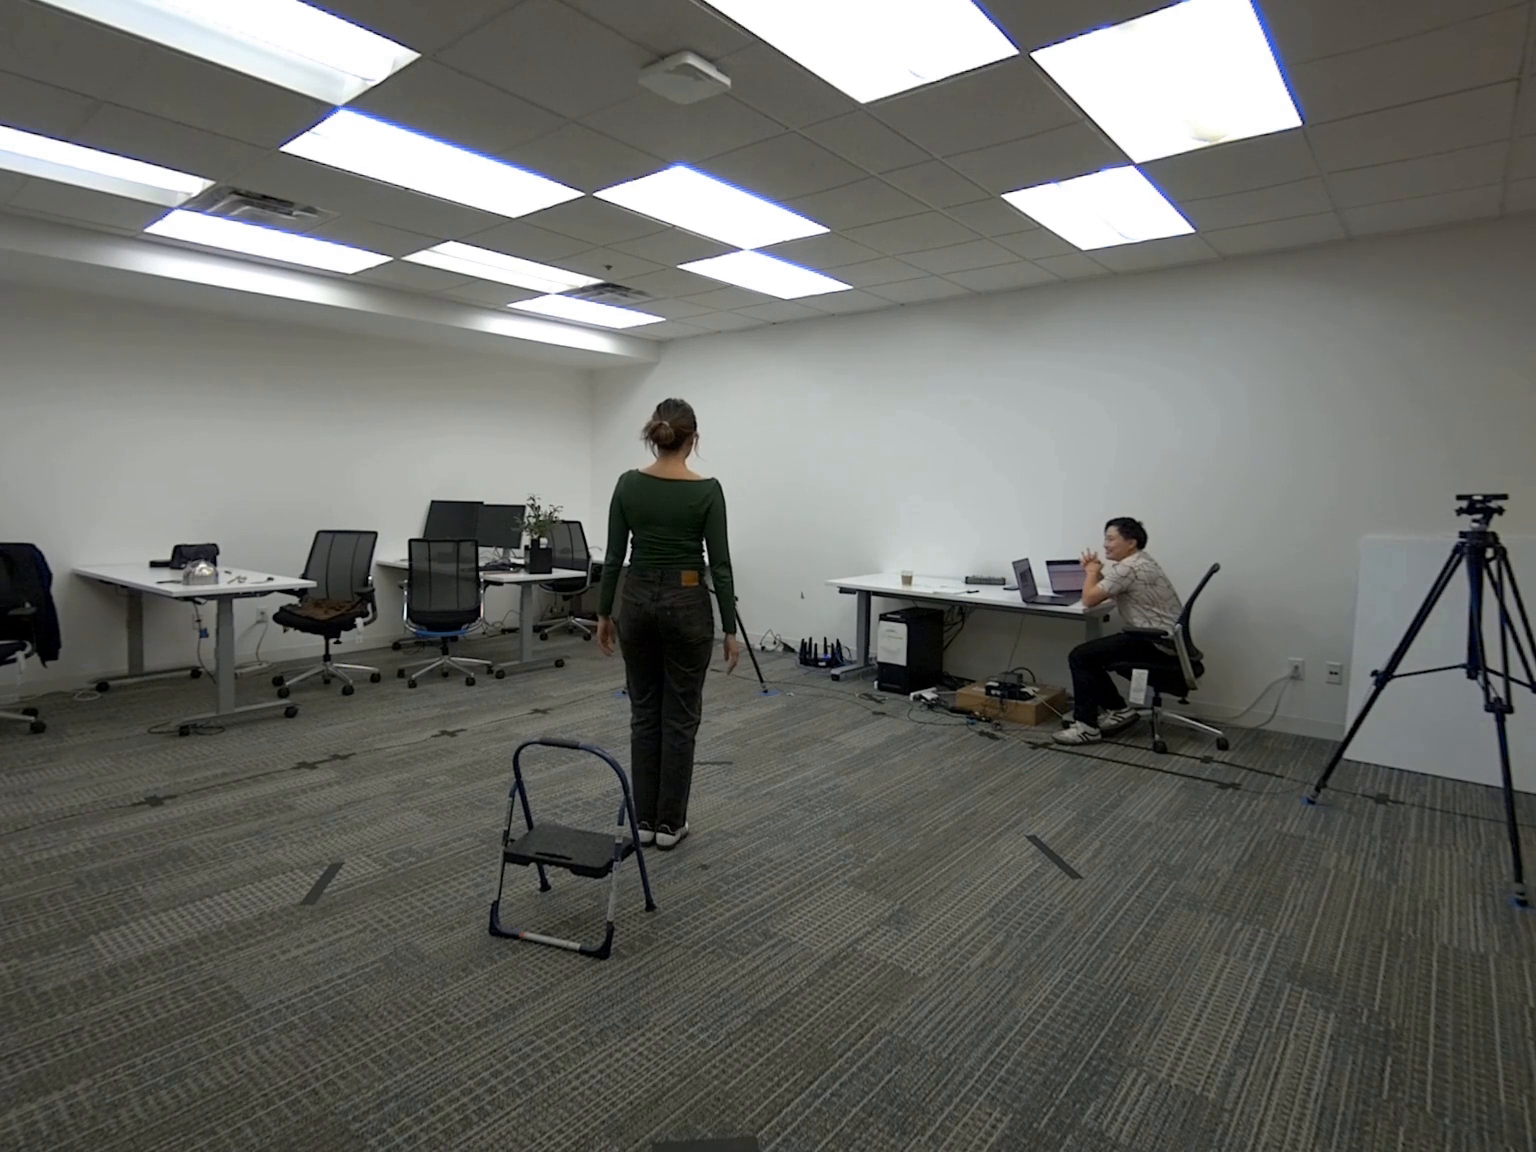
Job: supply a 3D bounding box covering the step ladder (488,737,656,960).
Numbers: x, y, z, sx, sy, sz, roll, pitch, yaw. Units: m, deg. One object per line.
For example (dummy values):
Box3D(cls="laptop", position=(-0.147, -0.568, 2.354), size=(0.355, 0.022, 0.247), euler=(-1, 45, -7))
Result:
Box3D(cls="step ladder", position=(-0.632, 0.798, 2.698), size=(0.439, 0.604, 0.344), euler=(2, 4, 18))
